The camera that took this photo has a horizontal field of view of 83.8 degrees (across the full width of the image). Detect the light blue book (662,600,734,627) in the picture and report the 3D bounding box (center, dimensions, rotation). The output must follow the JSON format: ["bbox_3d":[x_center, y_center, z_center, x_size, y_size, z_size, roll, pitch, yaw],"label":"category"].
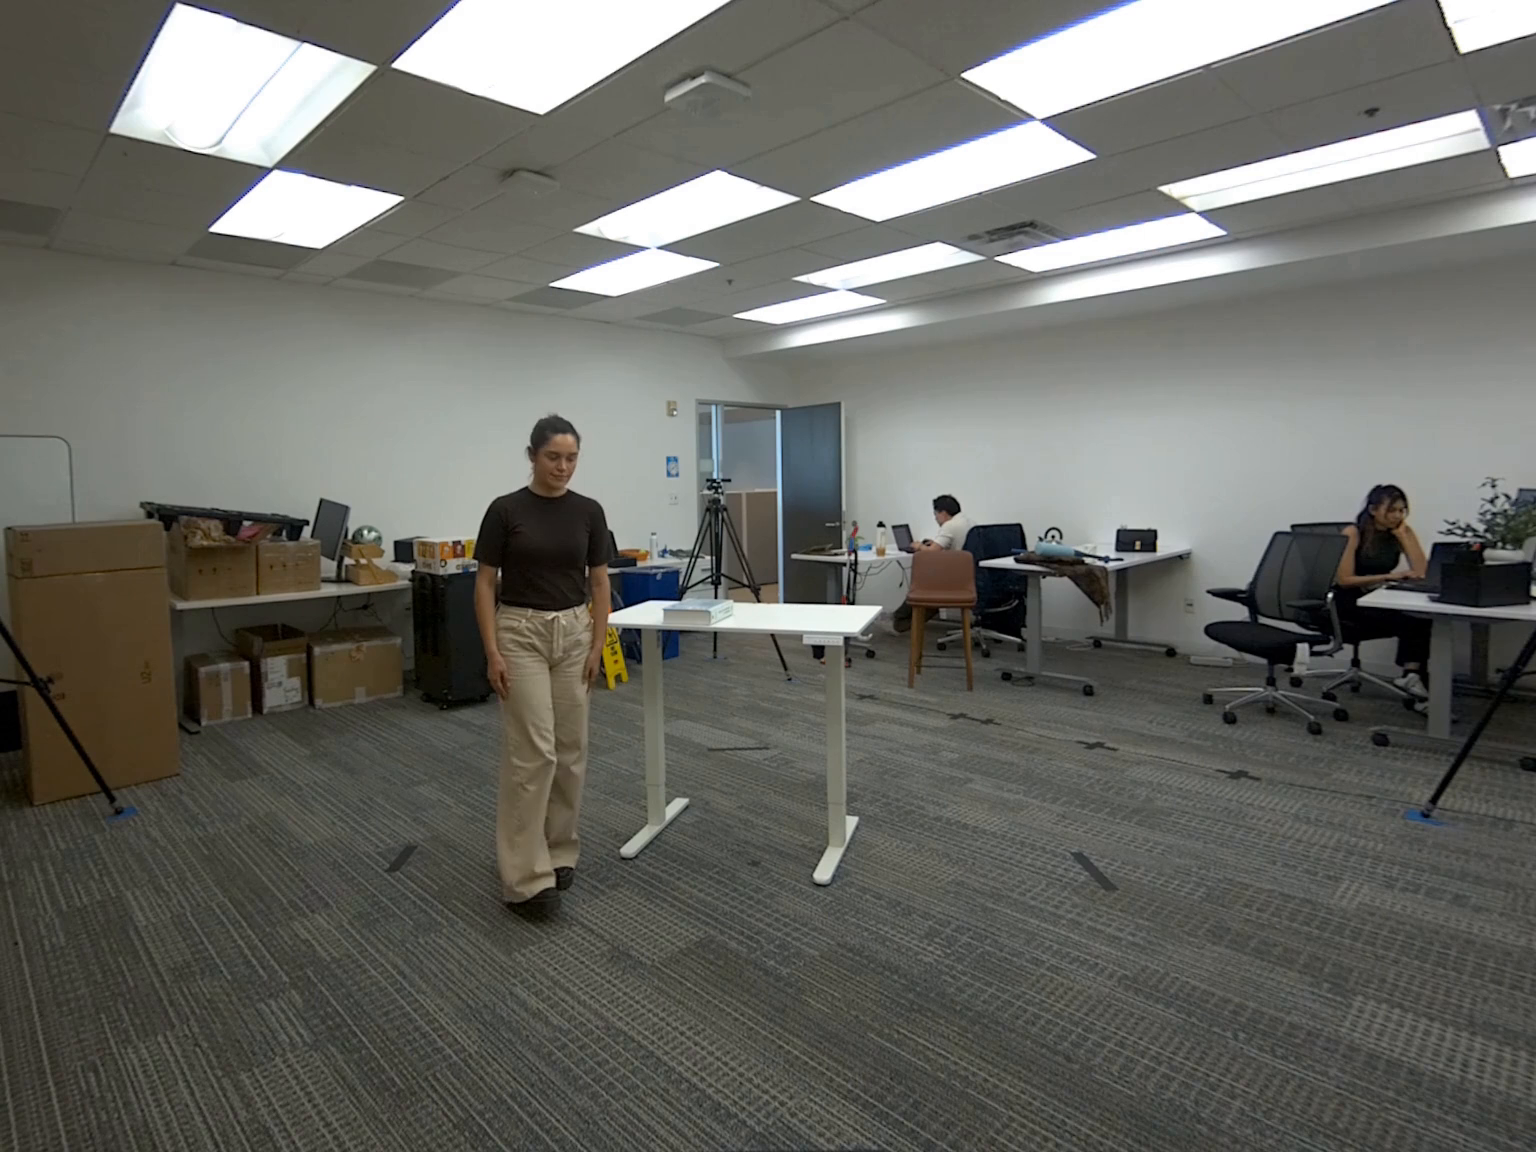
[{"bbox_3d":[-0.265,0.131,3.146,0.195,0.059,0.257,0,6,19],"label":"light blue book"}]
